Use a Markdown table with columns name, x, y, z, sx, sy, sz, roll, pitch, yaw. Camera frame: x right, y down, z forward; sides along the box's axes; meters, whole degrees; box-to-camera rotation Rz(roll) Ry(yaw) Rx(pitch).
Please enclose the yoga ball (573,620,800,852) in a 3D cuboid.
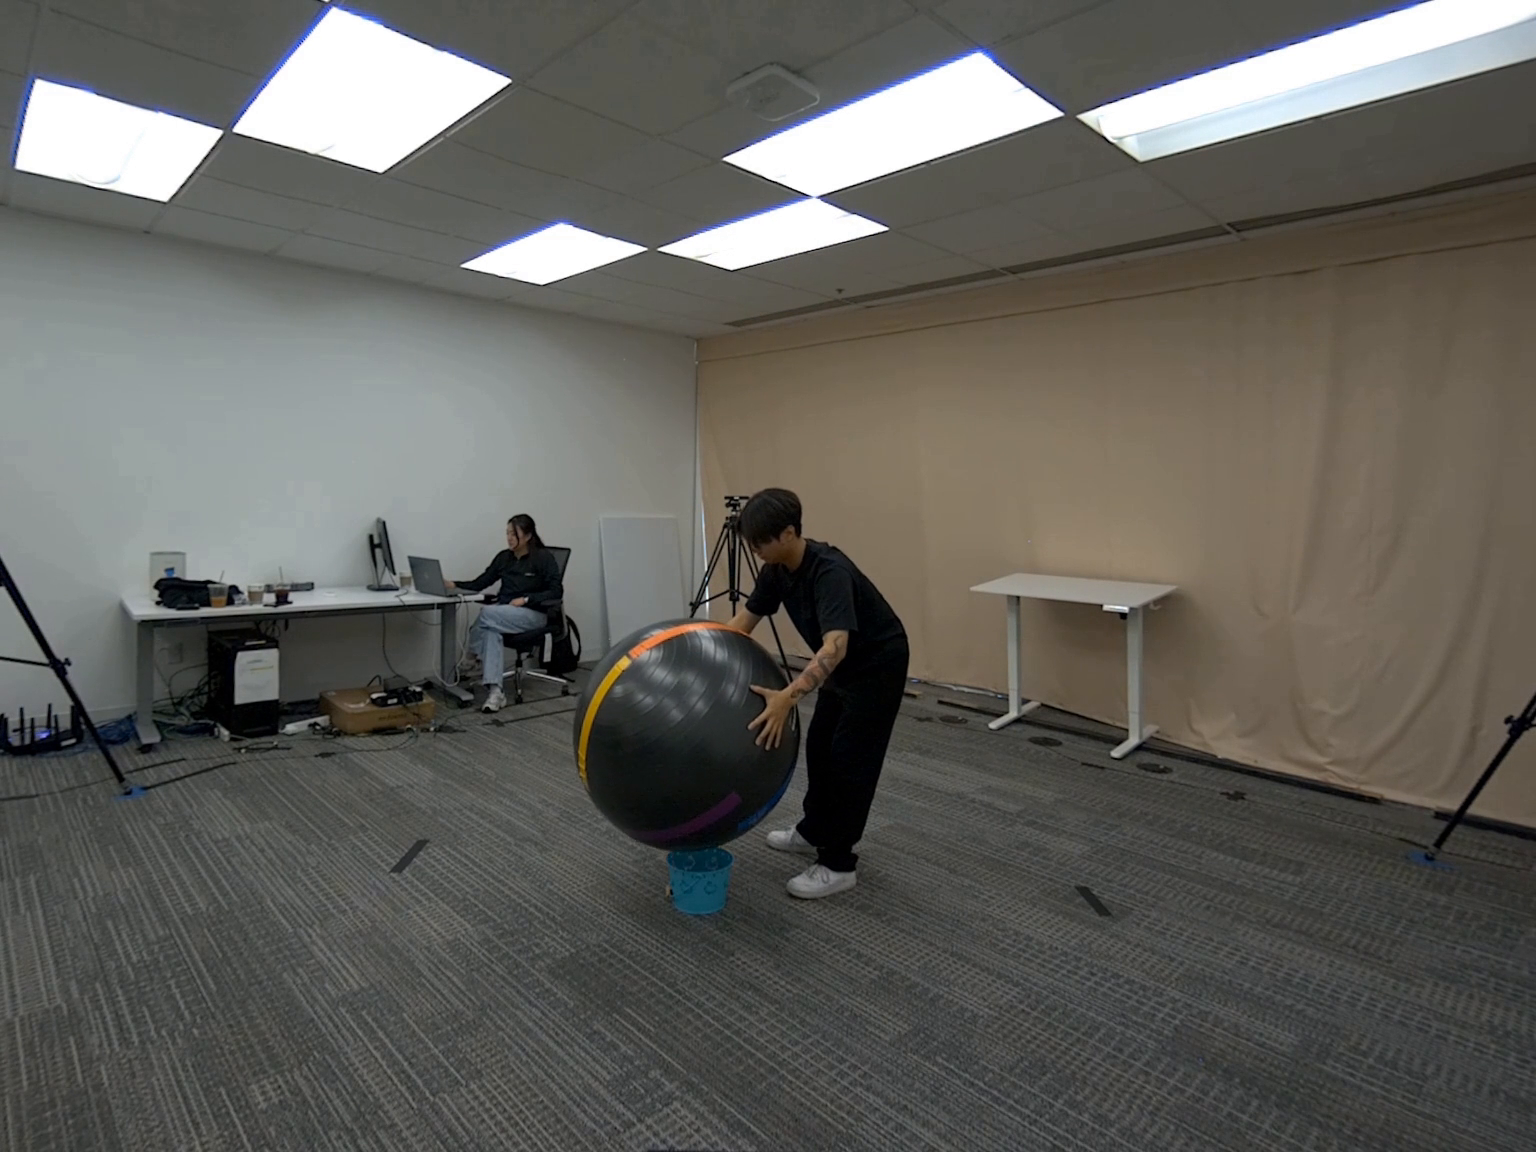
| name | x | y | z | sx | sy | sz | roll | pitch | yaw |
| --- | --- | --- | --- | --- | --- | --- | --- | --- | --- |
| yoga ball | -0.278 | 0.527 | 2.828 | 0.757 | 0.756 | 0.761 | 1 | 4 | -1 |
